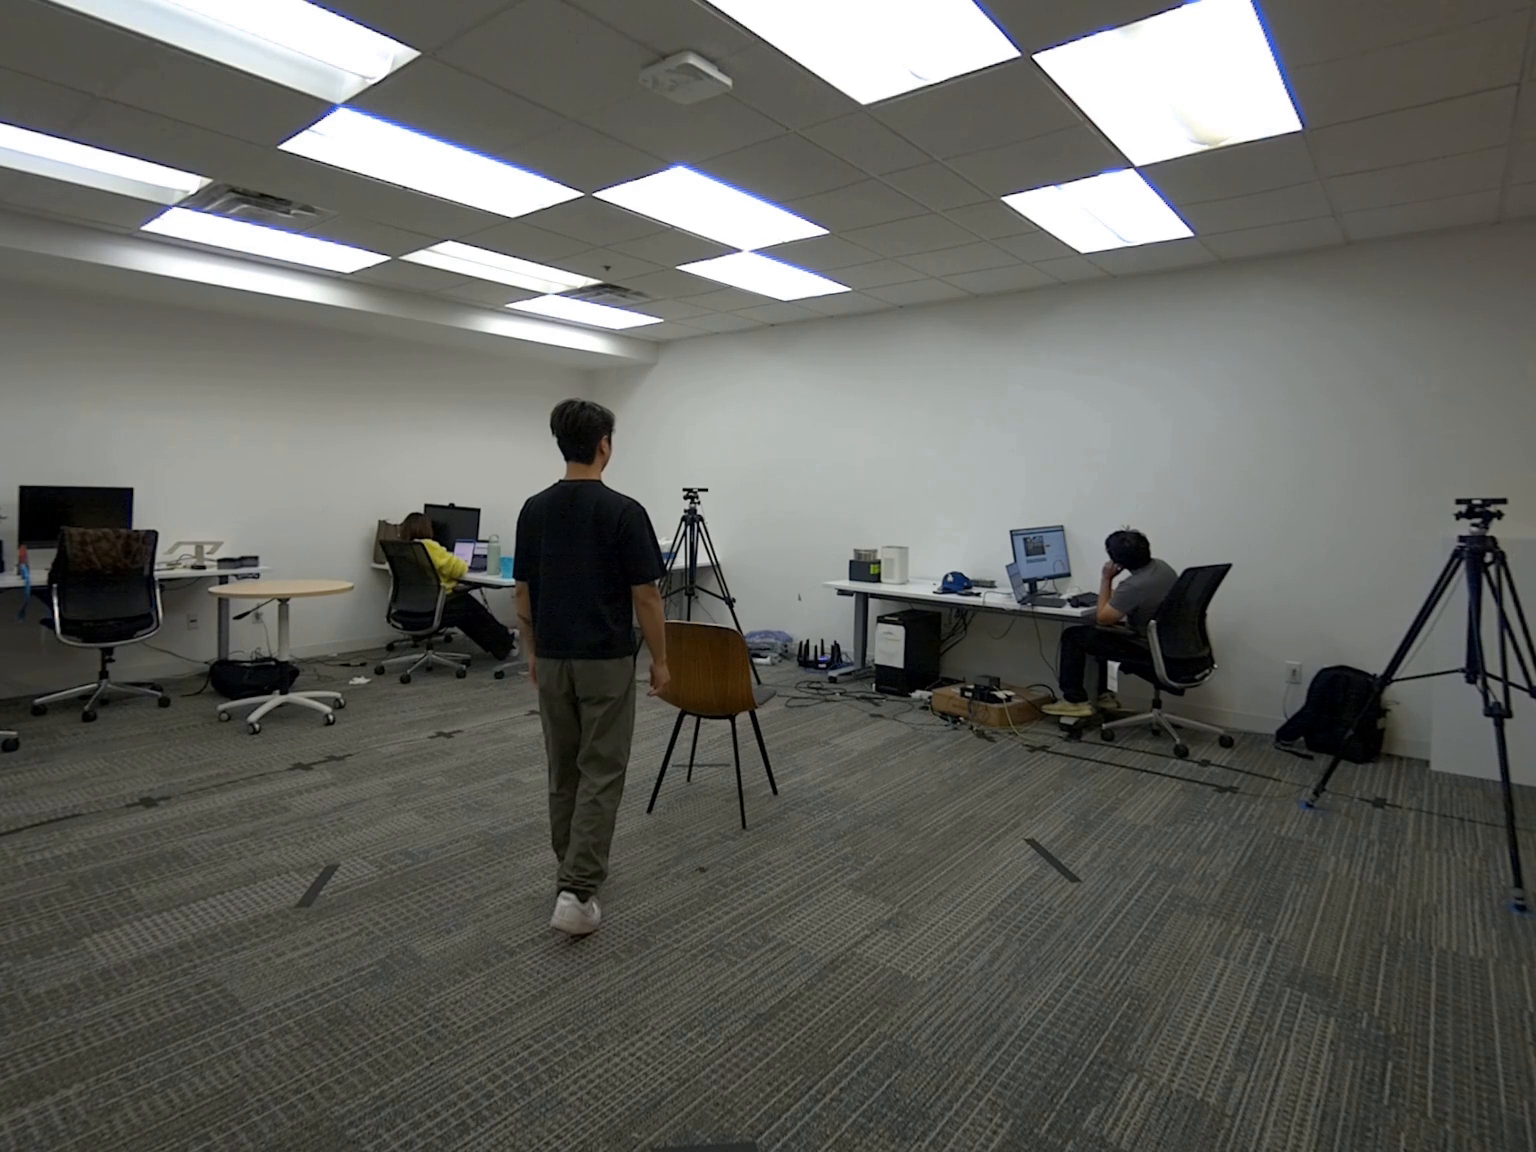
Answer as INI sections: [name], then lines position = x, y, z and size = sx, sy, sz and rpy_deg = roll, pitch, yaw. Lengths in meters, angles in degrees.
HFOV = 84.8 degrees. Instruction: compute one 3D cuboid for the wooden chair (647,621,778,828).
[wooden chair]
position = -0.240, 0.576, 3.750
size = 0.489, 0.871, 0.515
rpy_deg = 2, 8, 20
